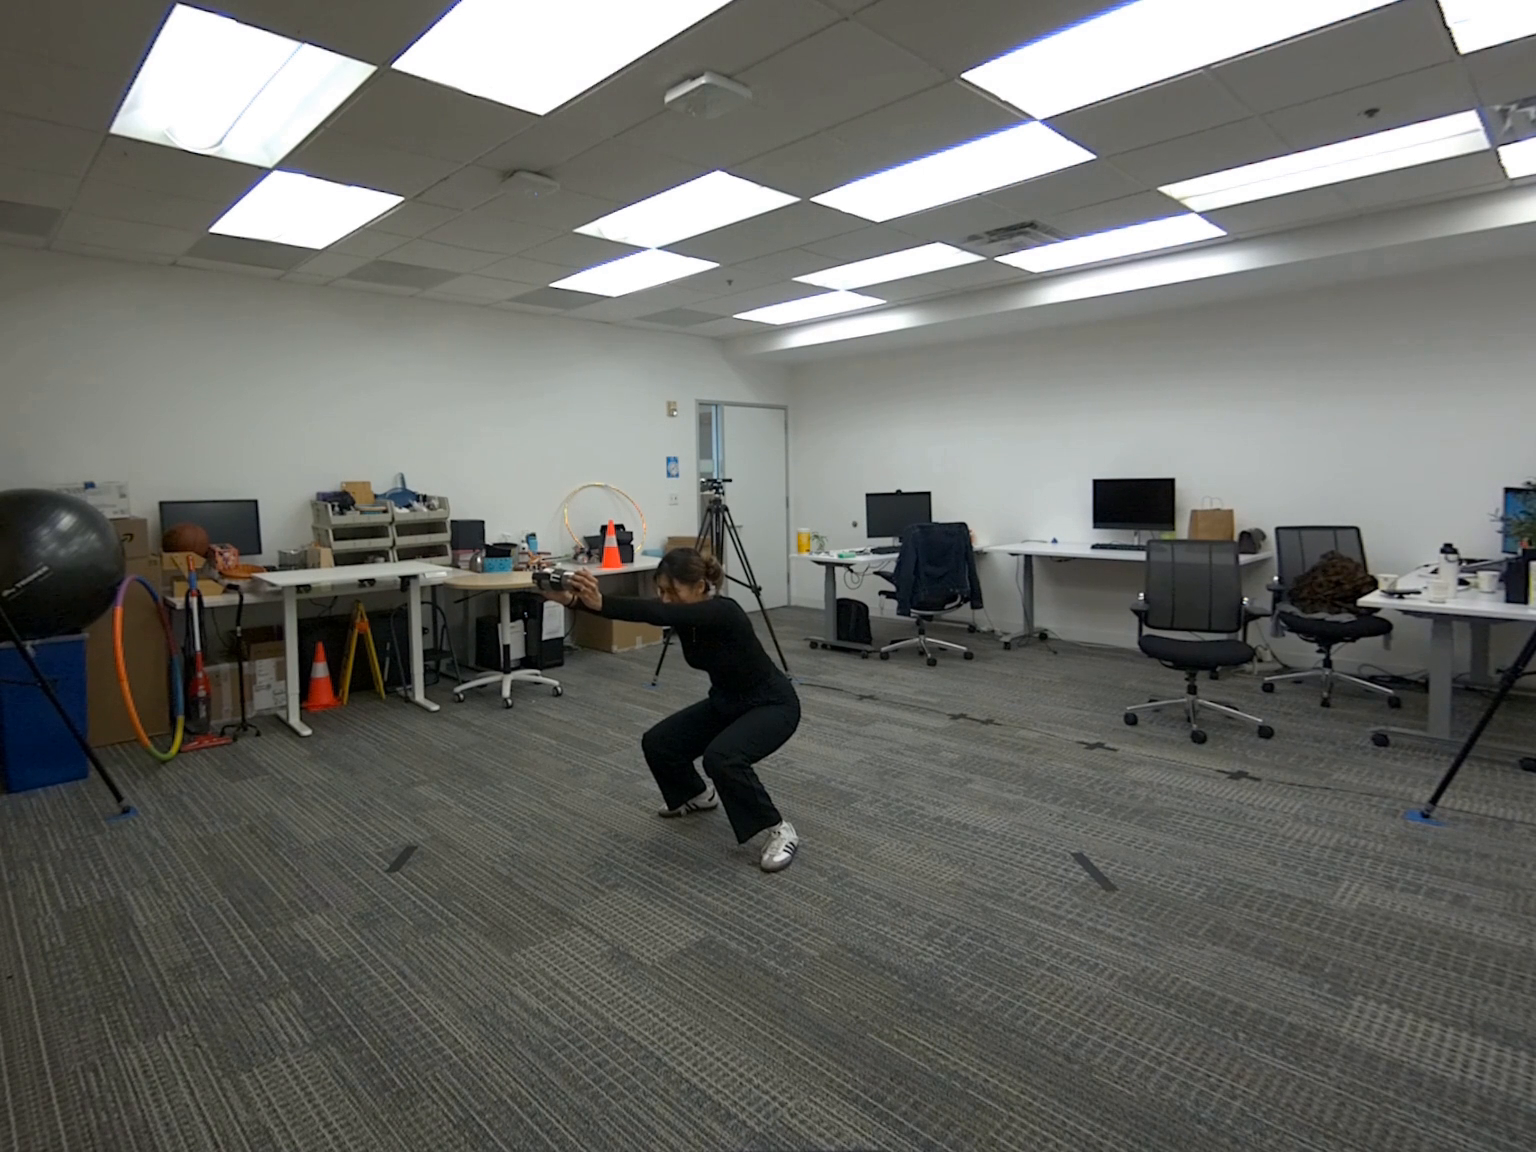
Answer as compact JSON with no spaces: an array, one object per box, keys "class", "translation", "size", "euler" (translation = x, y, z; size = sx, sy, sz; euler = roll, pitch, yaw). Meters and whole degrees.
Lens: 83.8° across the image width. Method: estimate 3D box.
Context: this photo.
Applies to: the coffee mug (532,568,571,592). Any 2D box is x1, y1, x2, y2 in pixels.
[{"class":"coffee mug","translation":[-0.687,0.021,2.837],"size":[0.119,0.087,0.209],"euler":[-13,8,-38]}]
